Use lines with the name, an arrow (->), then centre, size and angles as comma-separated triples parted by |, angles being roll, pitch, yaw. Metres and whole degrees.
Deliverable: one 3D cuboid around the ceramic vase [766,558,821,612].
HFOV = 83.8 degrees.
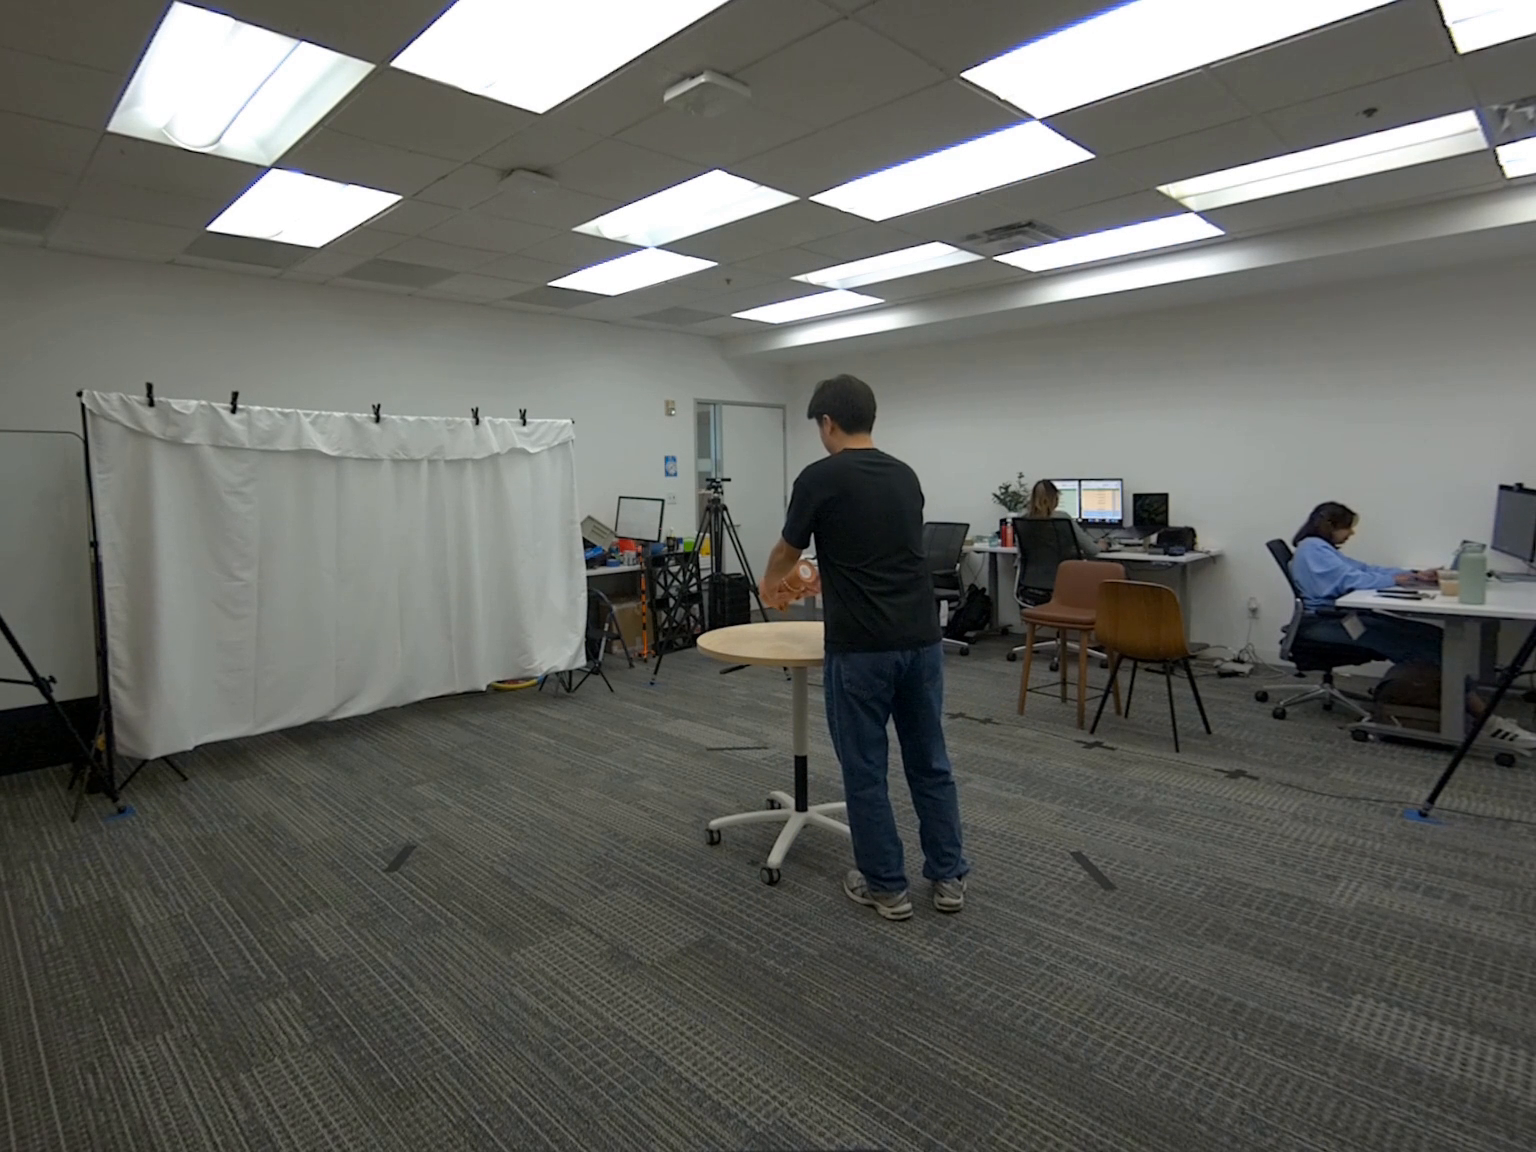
ceramic vase -> 0.076, 0.022, 3.202 | 0.221, 0.158, 0.134 | -34, 9, 49
